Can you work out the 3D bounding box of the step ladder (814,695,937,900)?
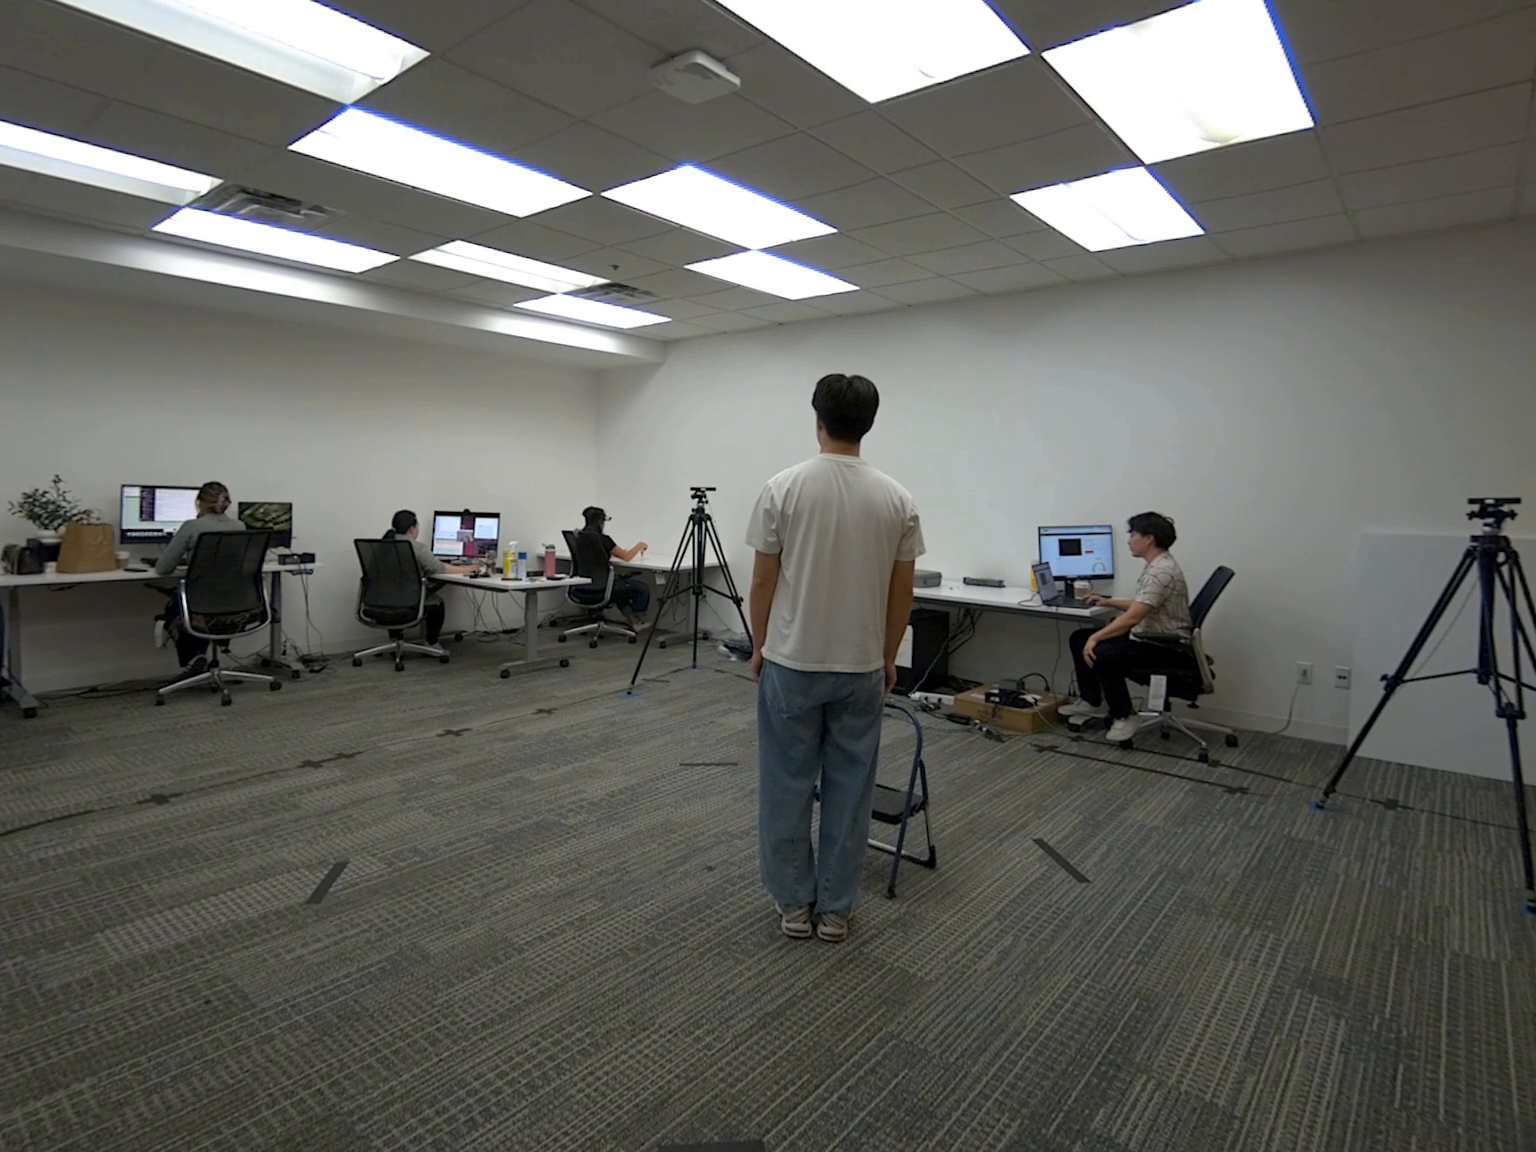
[{"bbox_3d":[0.364,0.767,3.160,0.445,0.604,0.339,5,5,40],"label":"step ladder"}]
